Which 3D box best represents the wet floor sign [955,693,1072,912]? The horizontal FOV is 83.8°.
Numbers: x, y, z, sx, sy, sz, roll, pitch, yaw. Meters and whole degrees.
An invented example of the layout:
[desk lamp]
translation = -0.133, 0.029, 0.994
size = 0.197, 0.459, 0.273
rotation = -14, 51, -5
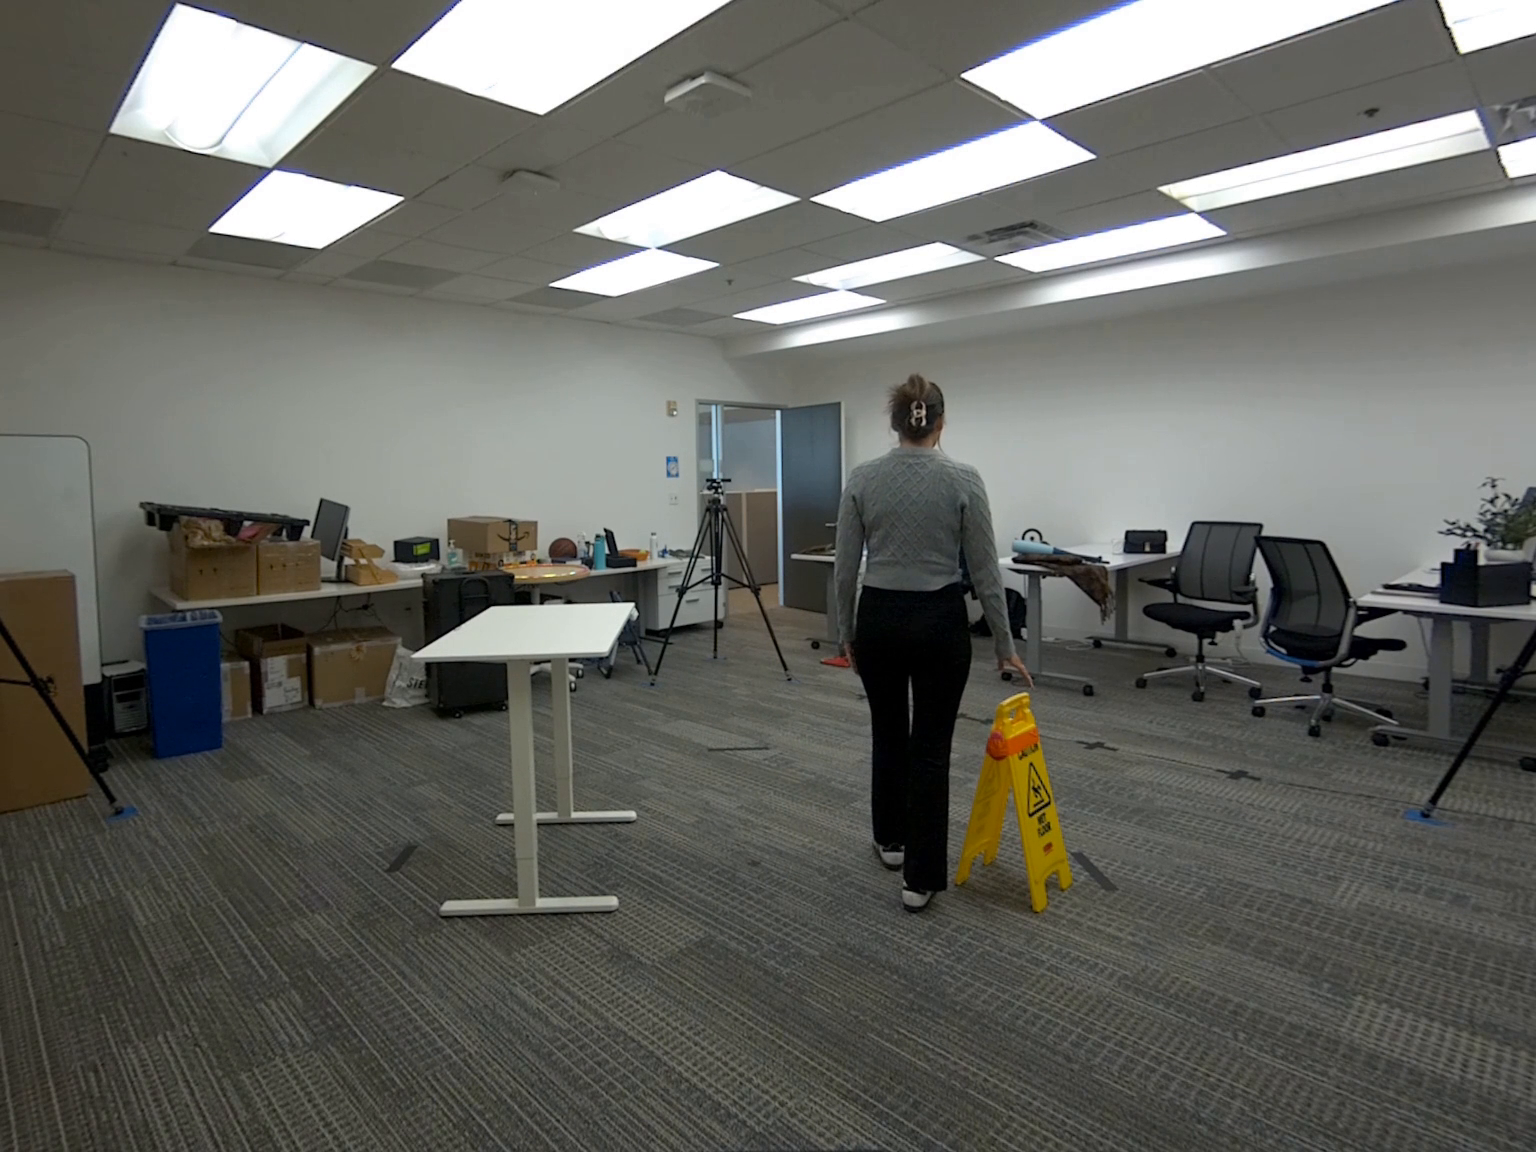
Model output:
[wet floor sign]
translation = 0.832, 0.728, 2.893
size = 0.299, 0.643, 0.275
rotation = 4, 7, 42
